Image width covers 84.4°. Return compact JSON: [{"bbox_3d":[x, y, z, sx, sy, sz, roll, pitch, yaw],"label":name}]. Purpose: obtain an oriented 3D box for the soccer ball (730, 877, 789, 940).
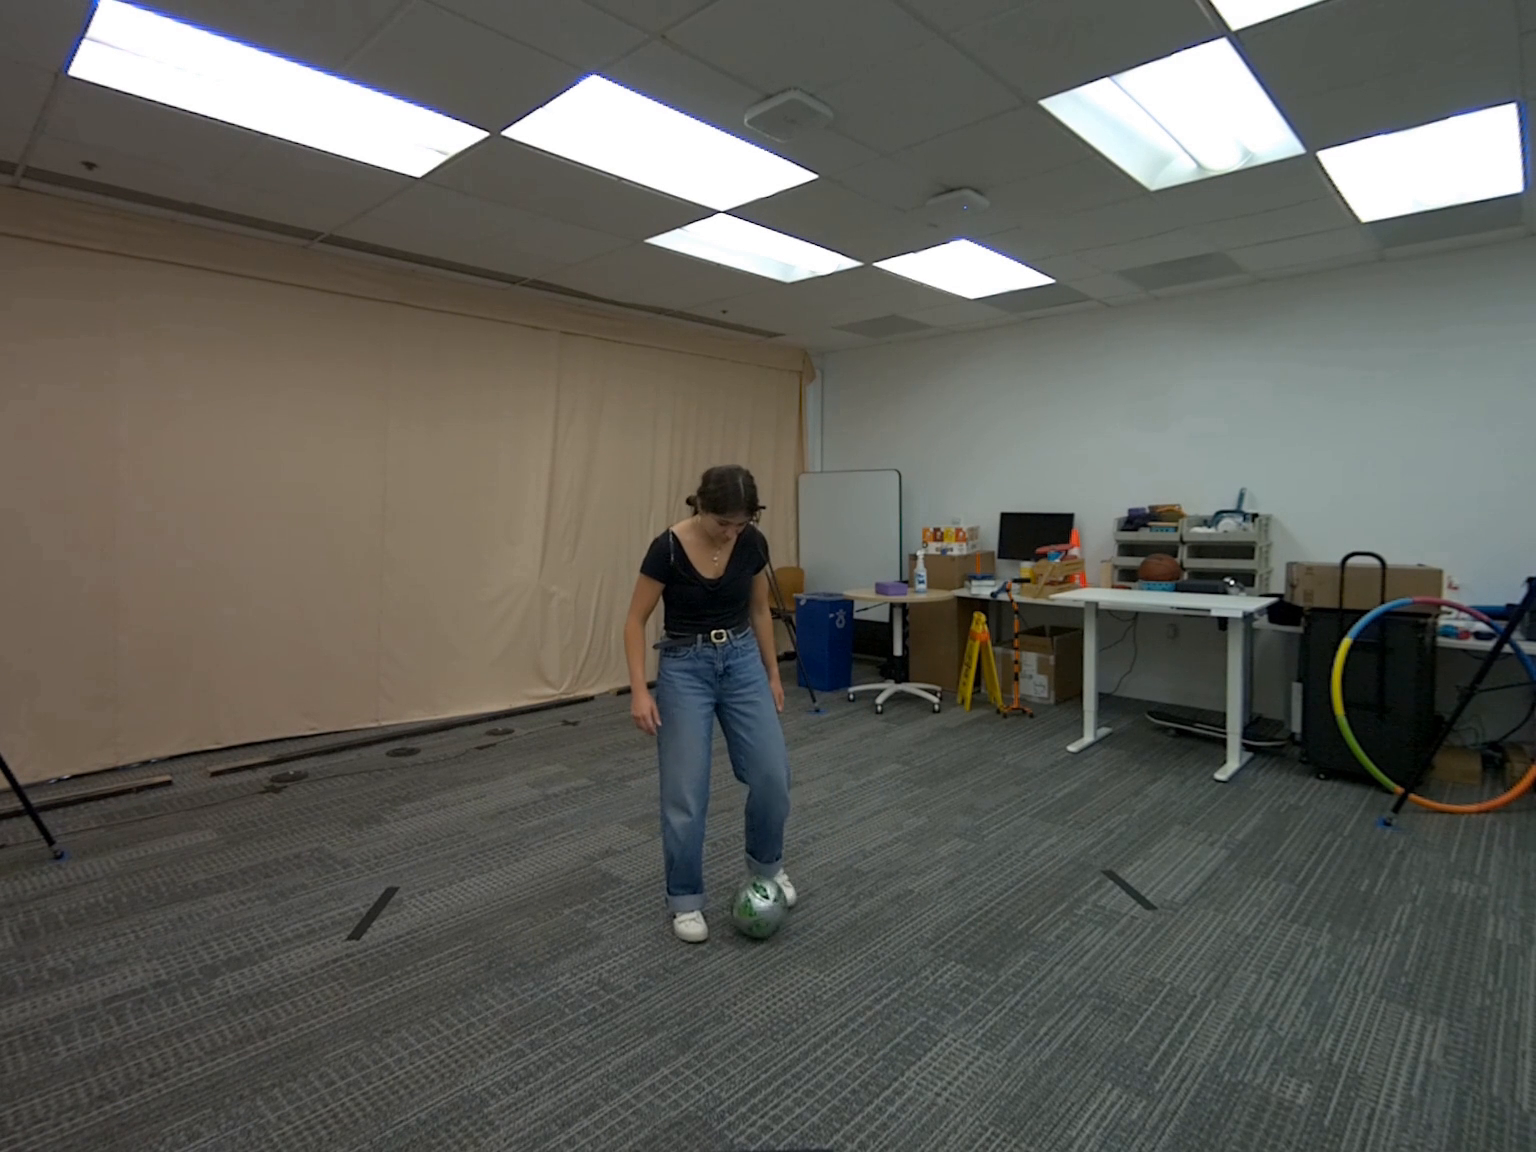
[{"bbox_3d":[-0.034,1.065,2.729,0.187,0.187,0.188,0,4,-2],"label":"soccer ball"}]
